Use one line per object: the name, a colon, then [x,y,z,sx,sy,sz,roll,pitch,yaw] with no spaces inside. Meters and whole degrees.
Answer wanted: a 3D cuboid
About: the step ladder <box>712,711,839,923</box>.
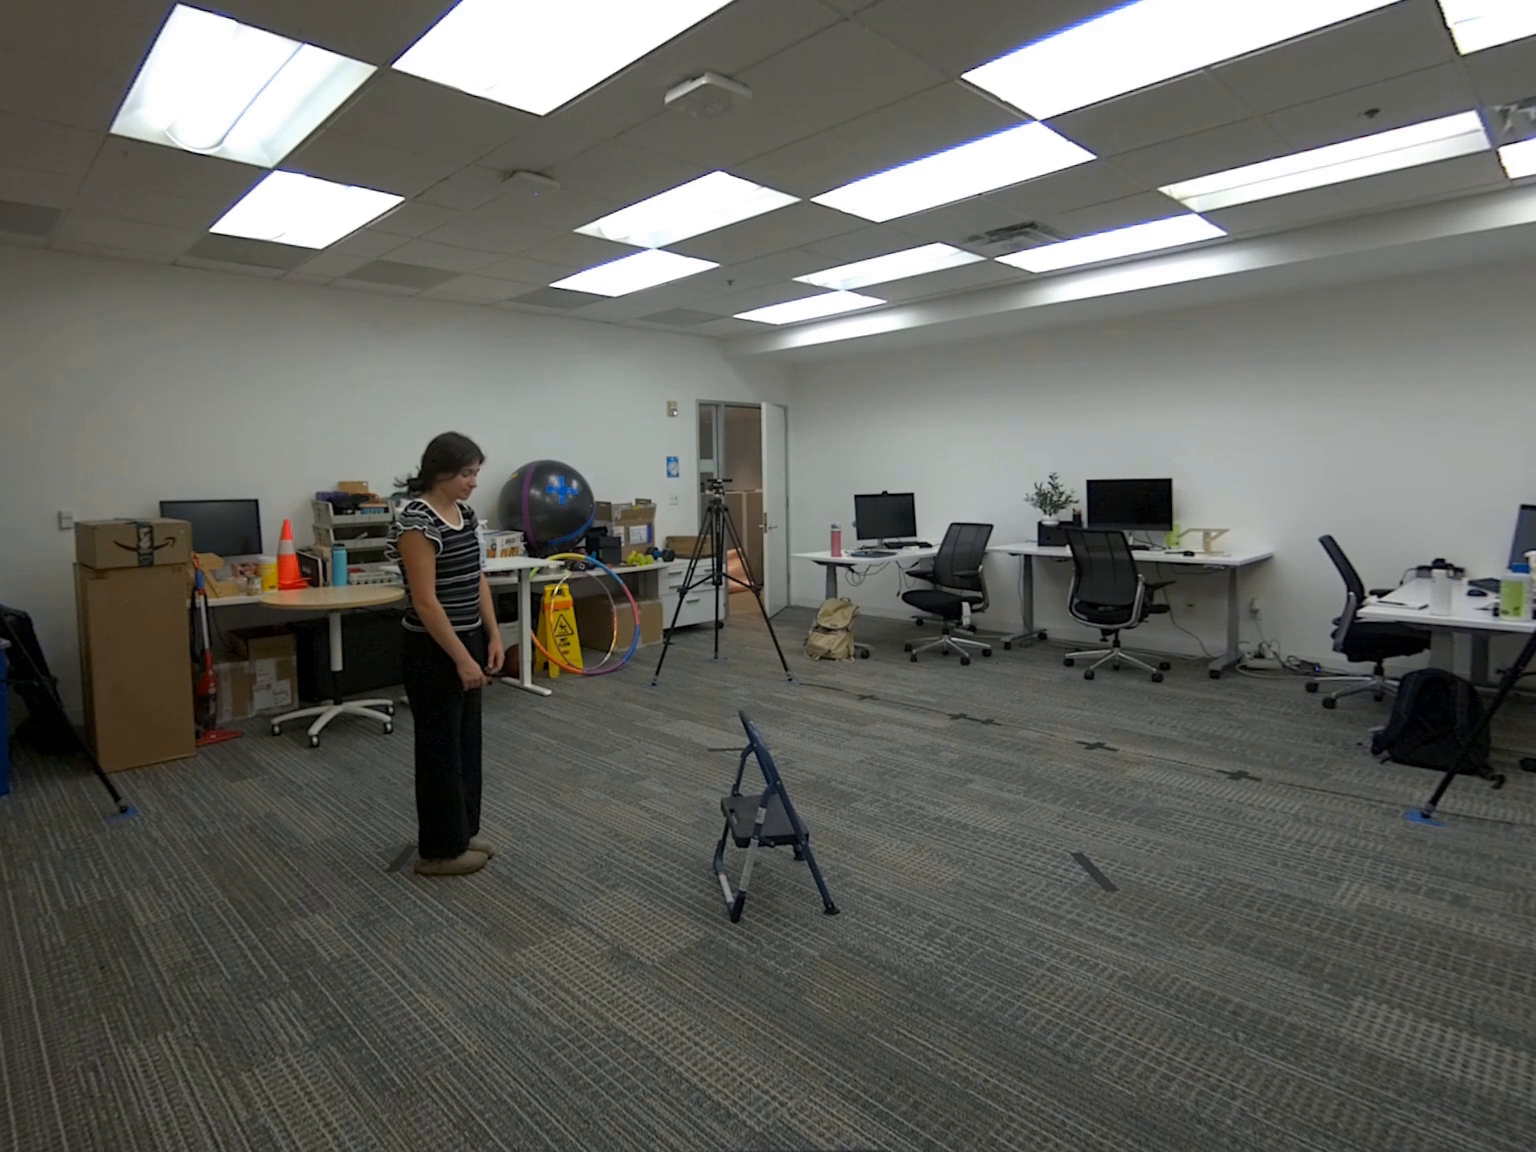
step ladder: [0.003,0.763,2.897,0.346,0.604,0.437,-2,5,-11]
